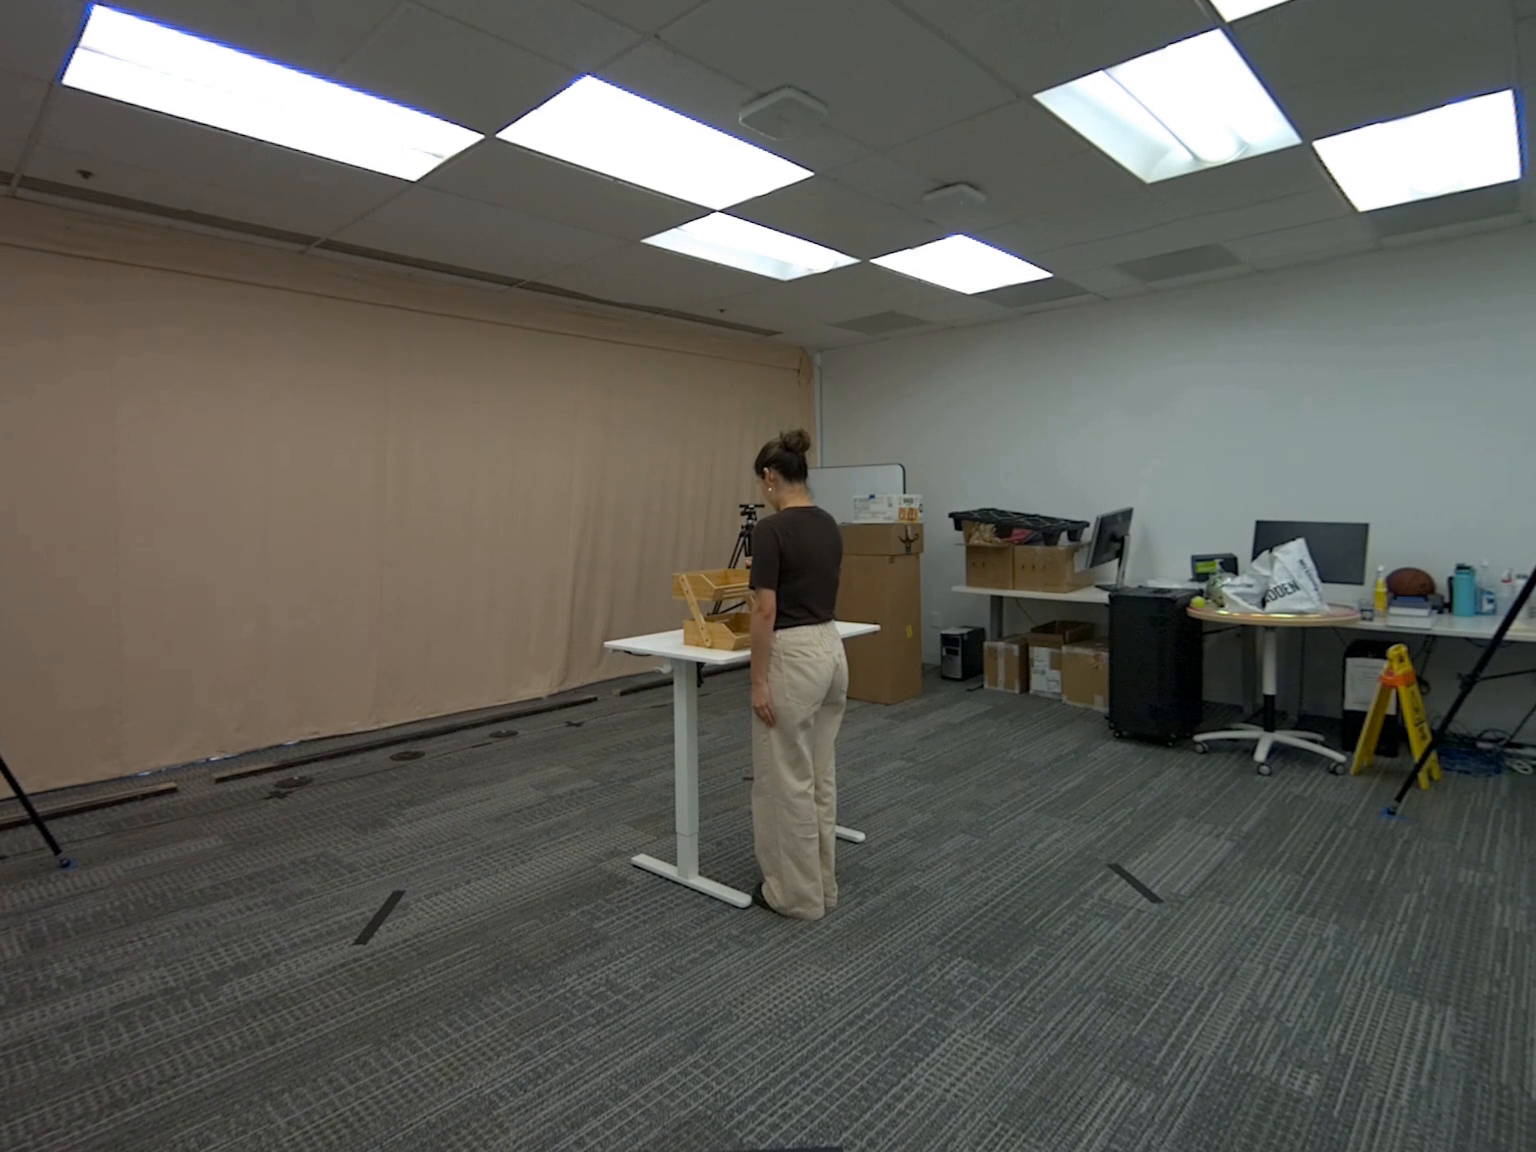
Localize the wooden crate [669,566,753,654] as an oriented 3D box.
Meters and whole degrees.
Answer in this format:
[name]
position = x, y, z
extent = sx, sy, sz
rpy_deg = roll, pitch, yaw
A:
[wooden crate]
position = -0.138, 0.113, 3.124
extent = 0.312, 0.273, 0.315
rpy_deg = 1, 4, 40
